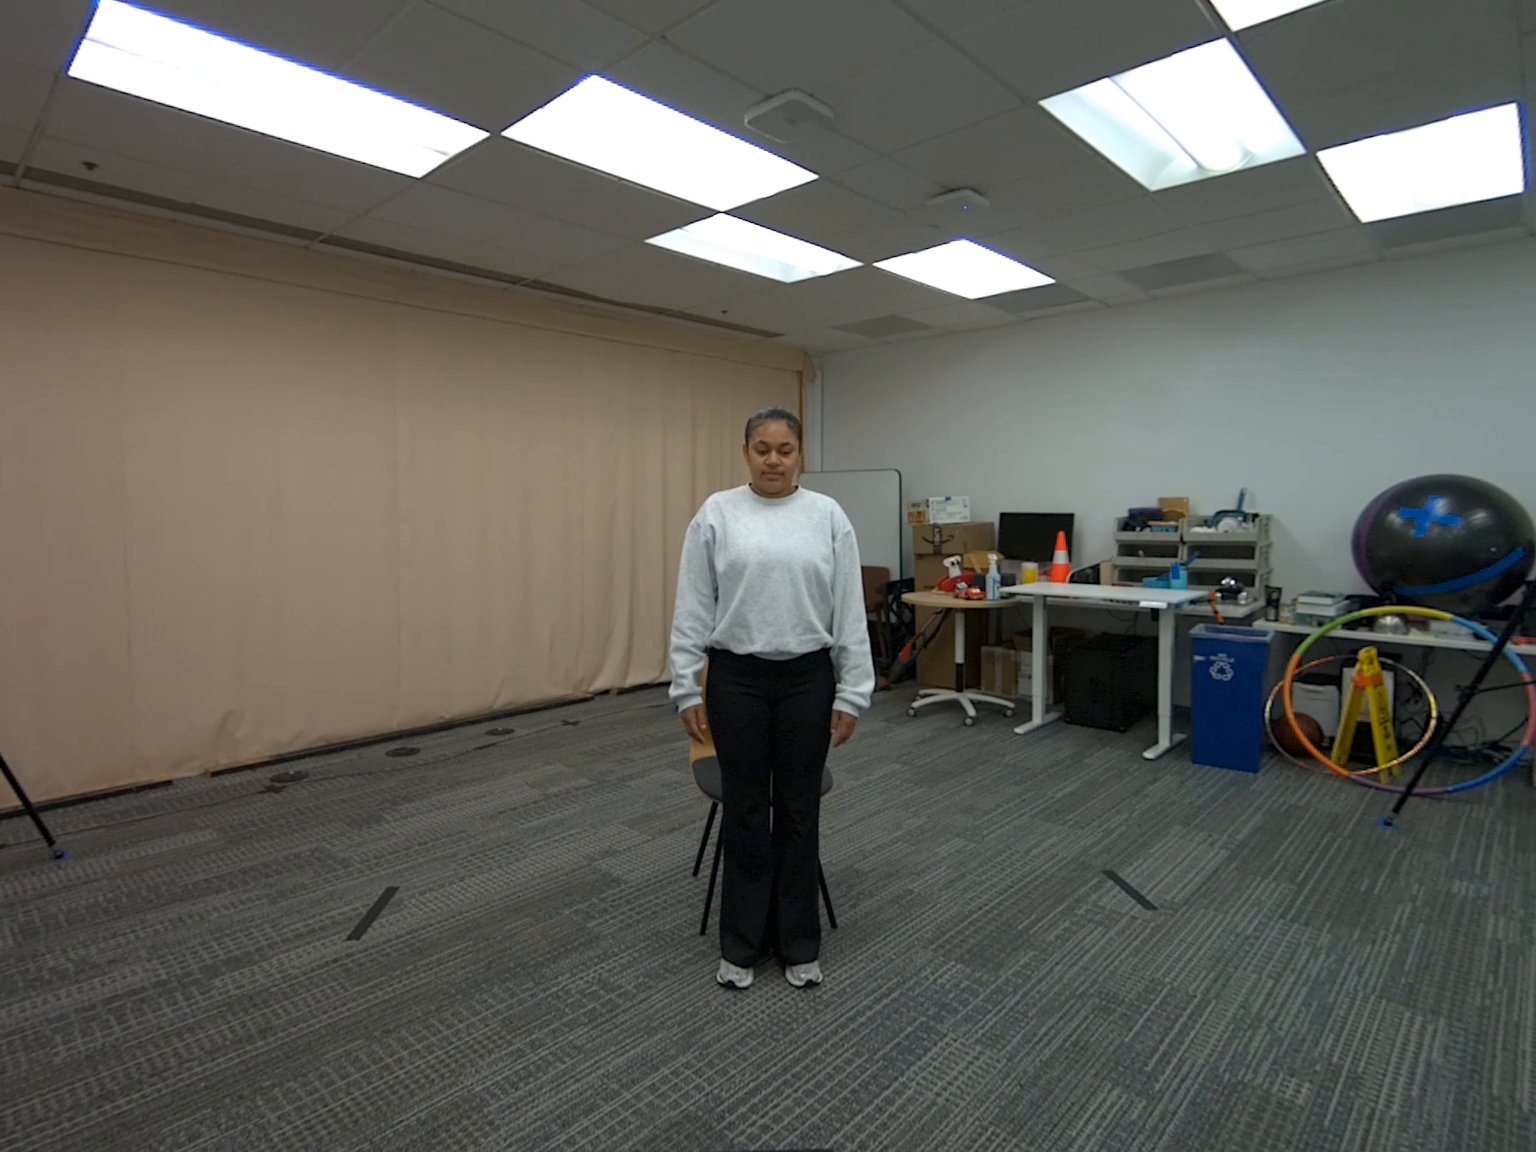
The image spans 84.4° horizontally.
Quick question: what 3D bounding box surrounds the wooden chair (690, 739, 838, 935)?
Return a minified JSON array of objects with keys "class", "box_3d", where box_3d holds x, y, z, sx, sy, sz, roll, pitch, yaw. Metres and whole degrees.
[{"class":"wooden chair","box_3d":[-0.024,0.717,2.935,0.475,0.878,0.527,0,-1,-7]}]
